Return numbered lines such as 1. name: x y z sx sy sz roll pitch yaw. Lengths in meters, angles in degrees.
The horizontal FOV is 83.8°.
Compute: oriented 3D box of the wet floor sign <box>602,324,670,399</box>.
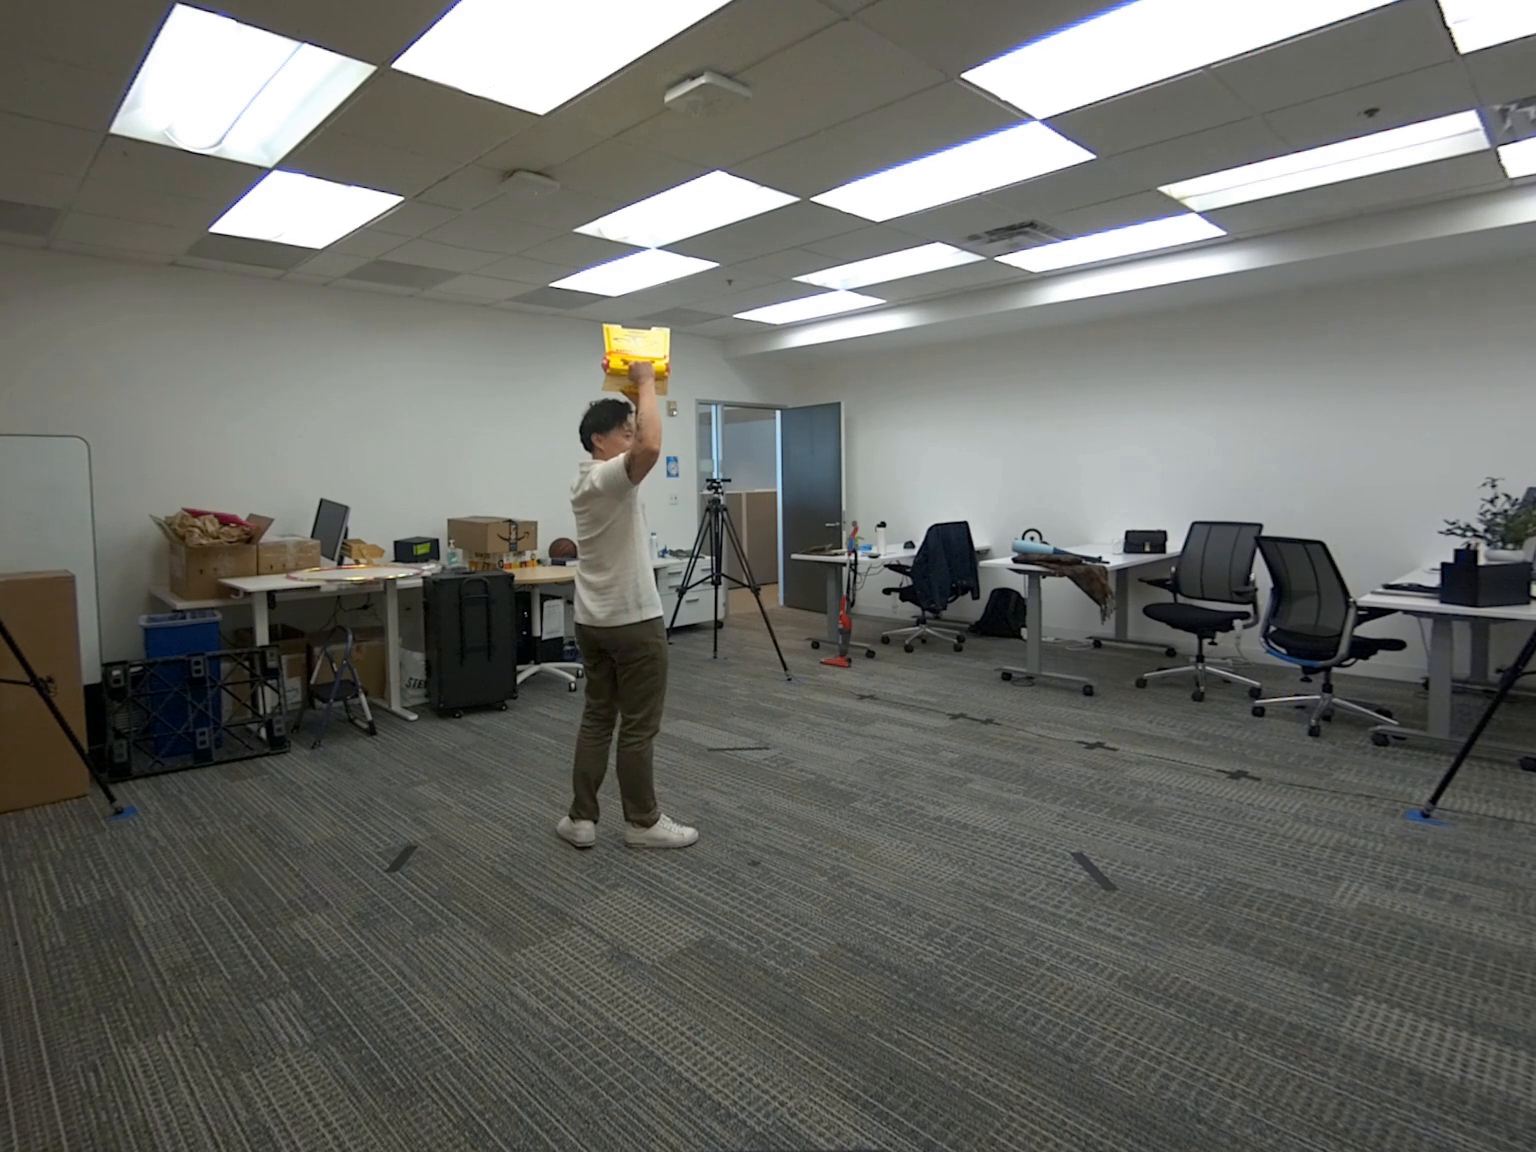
1. wet floor sign: -0.516 -0.821 3.305 0.280 0.286 0.659 2 16 -9
